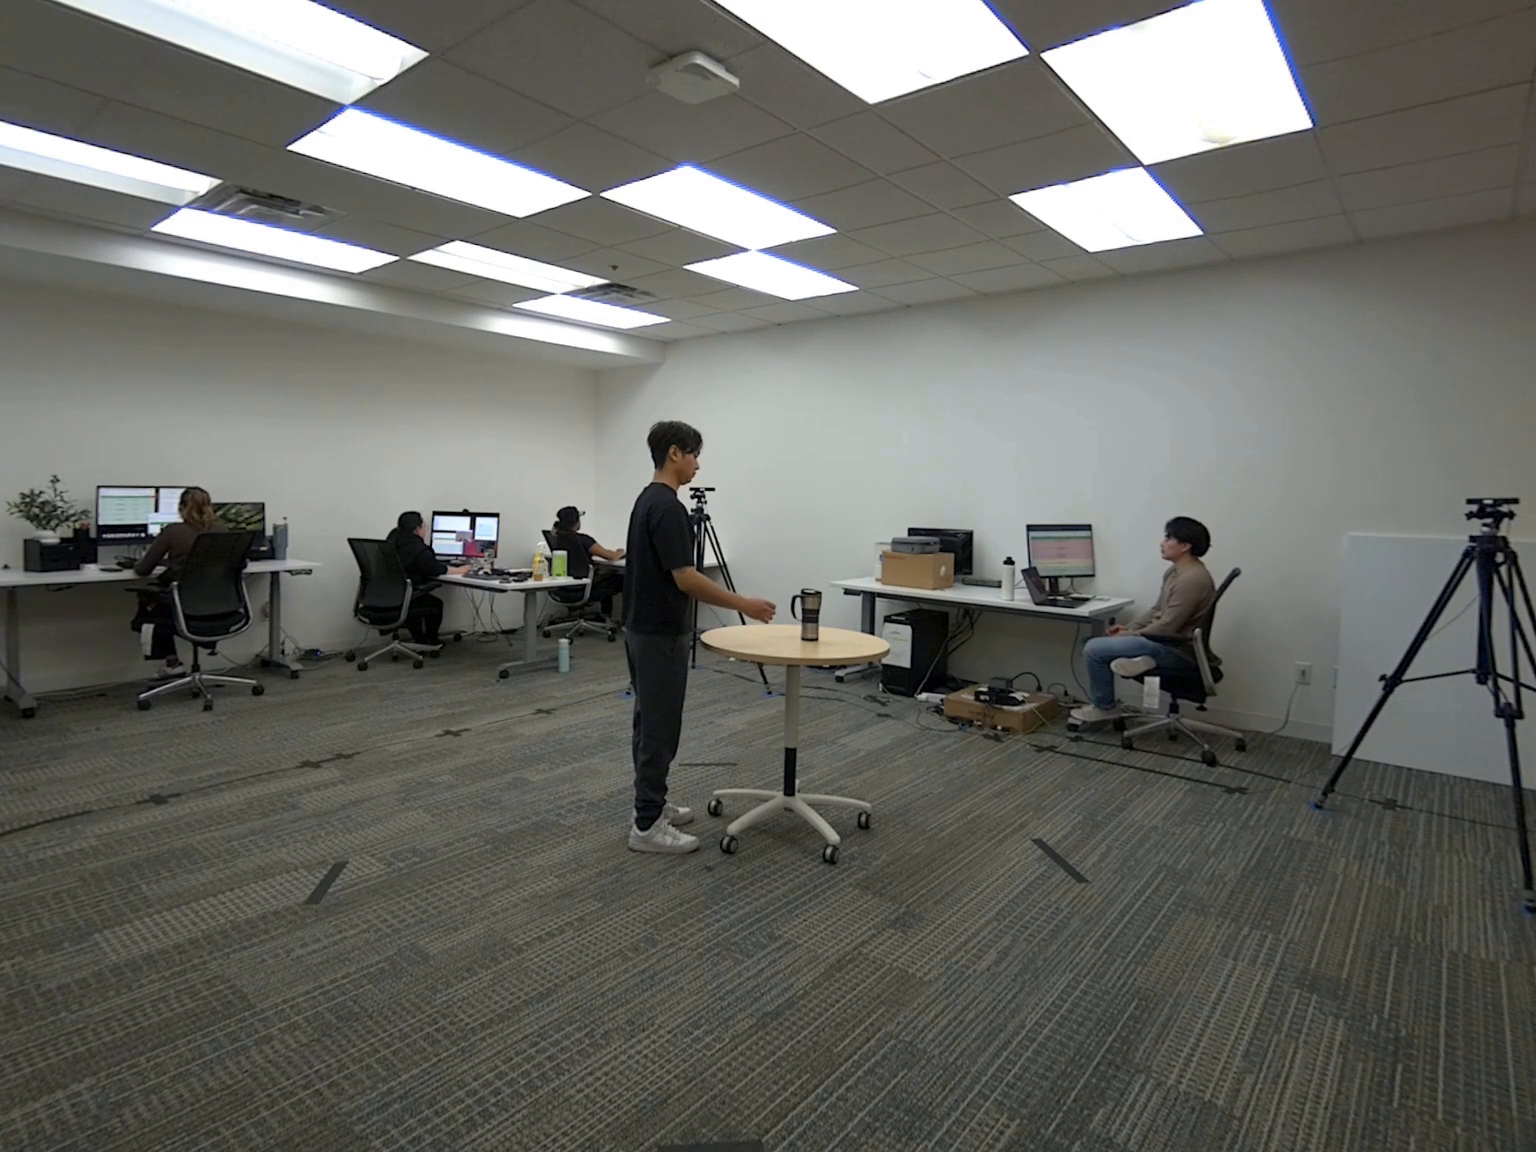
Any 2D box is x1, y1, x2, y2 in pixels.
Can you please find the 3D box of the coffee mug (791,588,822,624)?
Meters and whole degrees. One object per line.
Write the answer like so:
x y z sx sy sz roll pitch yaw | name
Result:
0.146 0.158 3.470 0.126 0.202 0.086 7 8 31 | coffee mug
